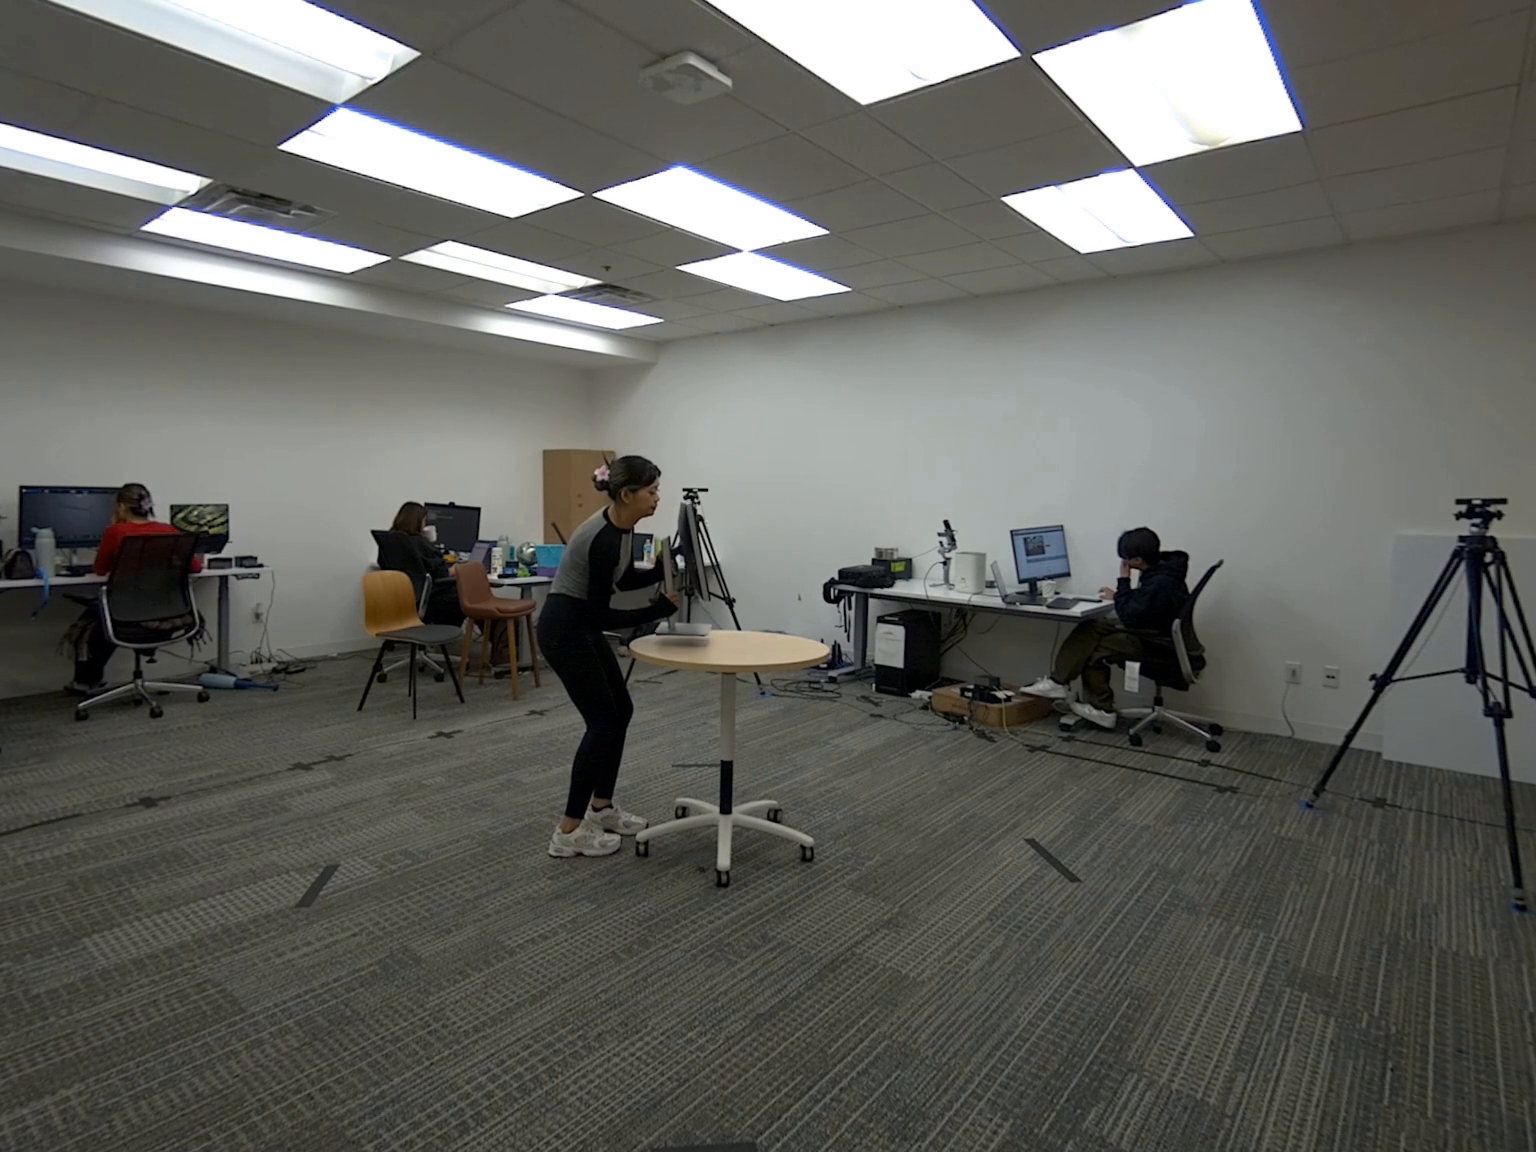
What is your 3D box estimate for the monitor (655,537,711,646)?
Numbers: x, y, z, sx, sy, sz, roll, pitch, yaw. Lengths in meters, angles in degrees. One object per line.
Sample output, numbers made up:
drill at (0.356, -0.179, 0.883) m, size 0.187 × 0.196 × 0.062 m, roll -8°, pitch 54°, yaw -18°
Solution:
monitor at (-0.343, -0.029, 3.307) m, size 0.186 × 0.521 × 0.545 m, roll 3°, pitch 4°, yaw -8°
